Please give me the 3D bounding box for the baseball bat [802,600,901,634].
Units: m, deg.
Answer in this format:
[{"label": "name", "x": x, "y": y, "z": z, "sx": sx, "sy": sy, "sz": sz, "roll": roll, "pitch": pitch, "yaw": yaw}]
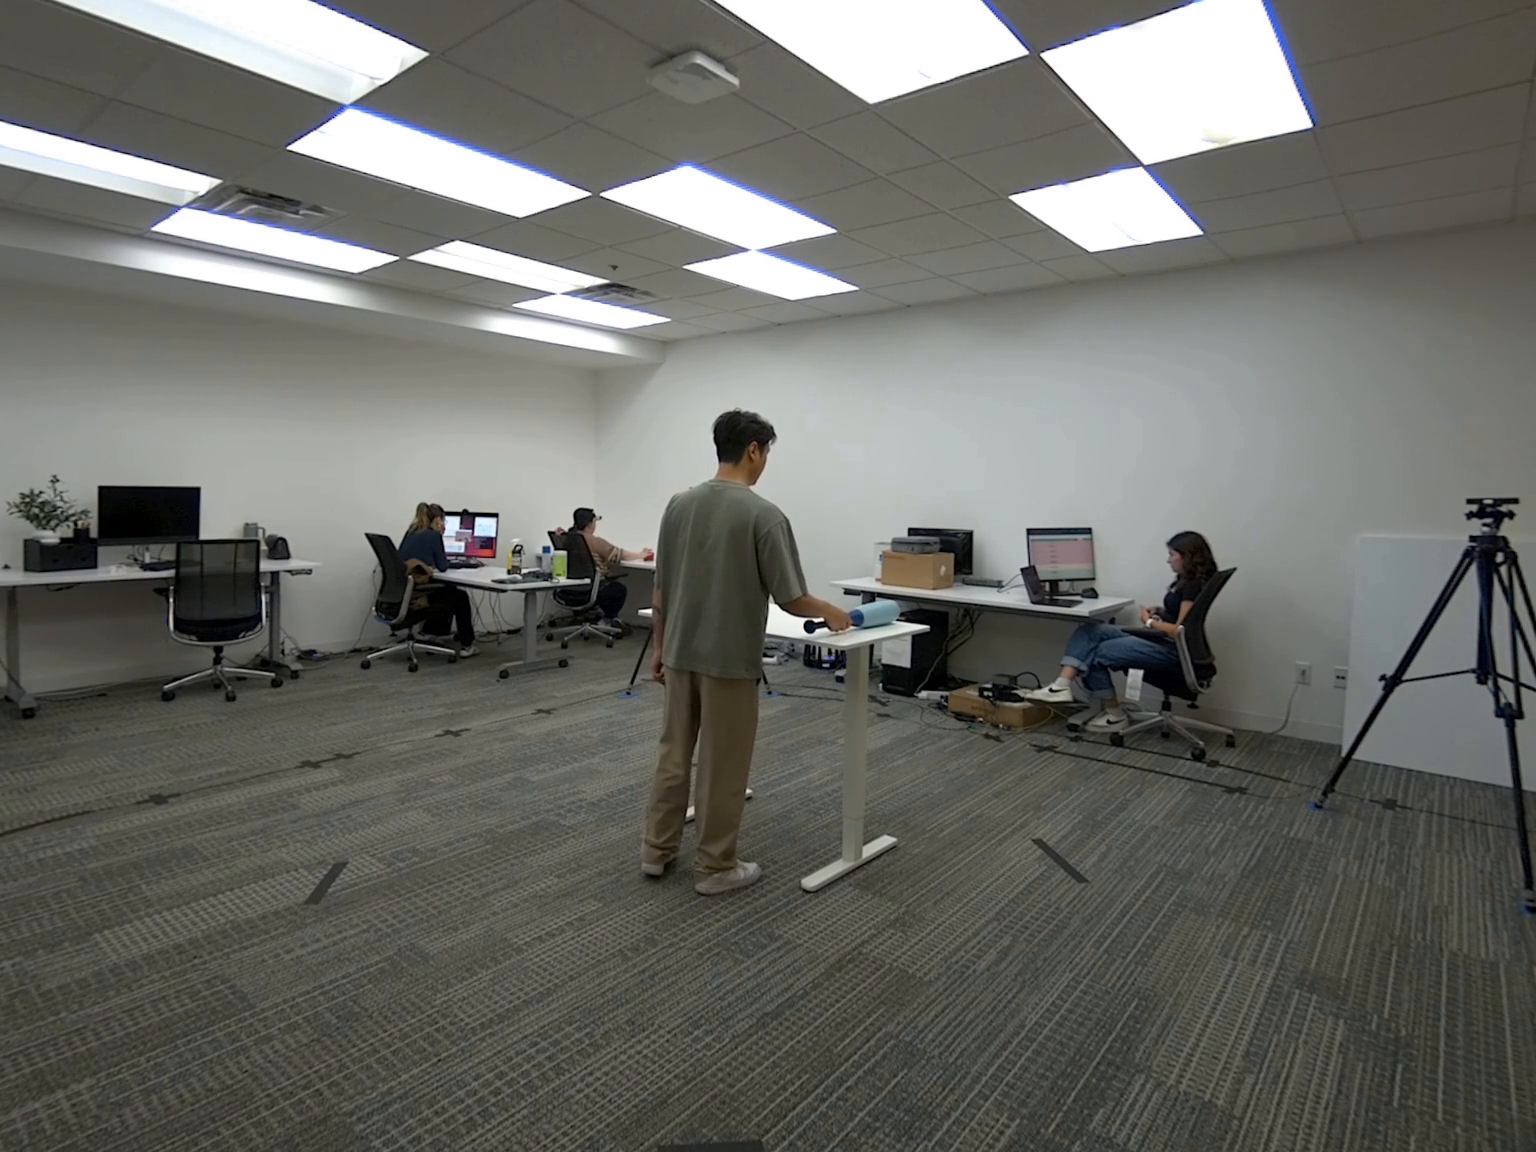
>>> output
[{"label": "baseball bat", "x": 0.314, "y": 0.159, "z": 3.107, "sx": 0.092, "sy": 0.088, "sz": 0.528, "roll": 4, "pitch": 9, "yaw": 40}]
